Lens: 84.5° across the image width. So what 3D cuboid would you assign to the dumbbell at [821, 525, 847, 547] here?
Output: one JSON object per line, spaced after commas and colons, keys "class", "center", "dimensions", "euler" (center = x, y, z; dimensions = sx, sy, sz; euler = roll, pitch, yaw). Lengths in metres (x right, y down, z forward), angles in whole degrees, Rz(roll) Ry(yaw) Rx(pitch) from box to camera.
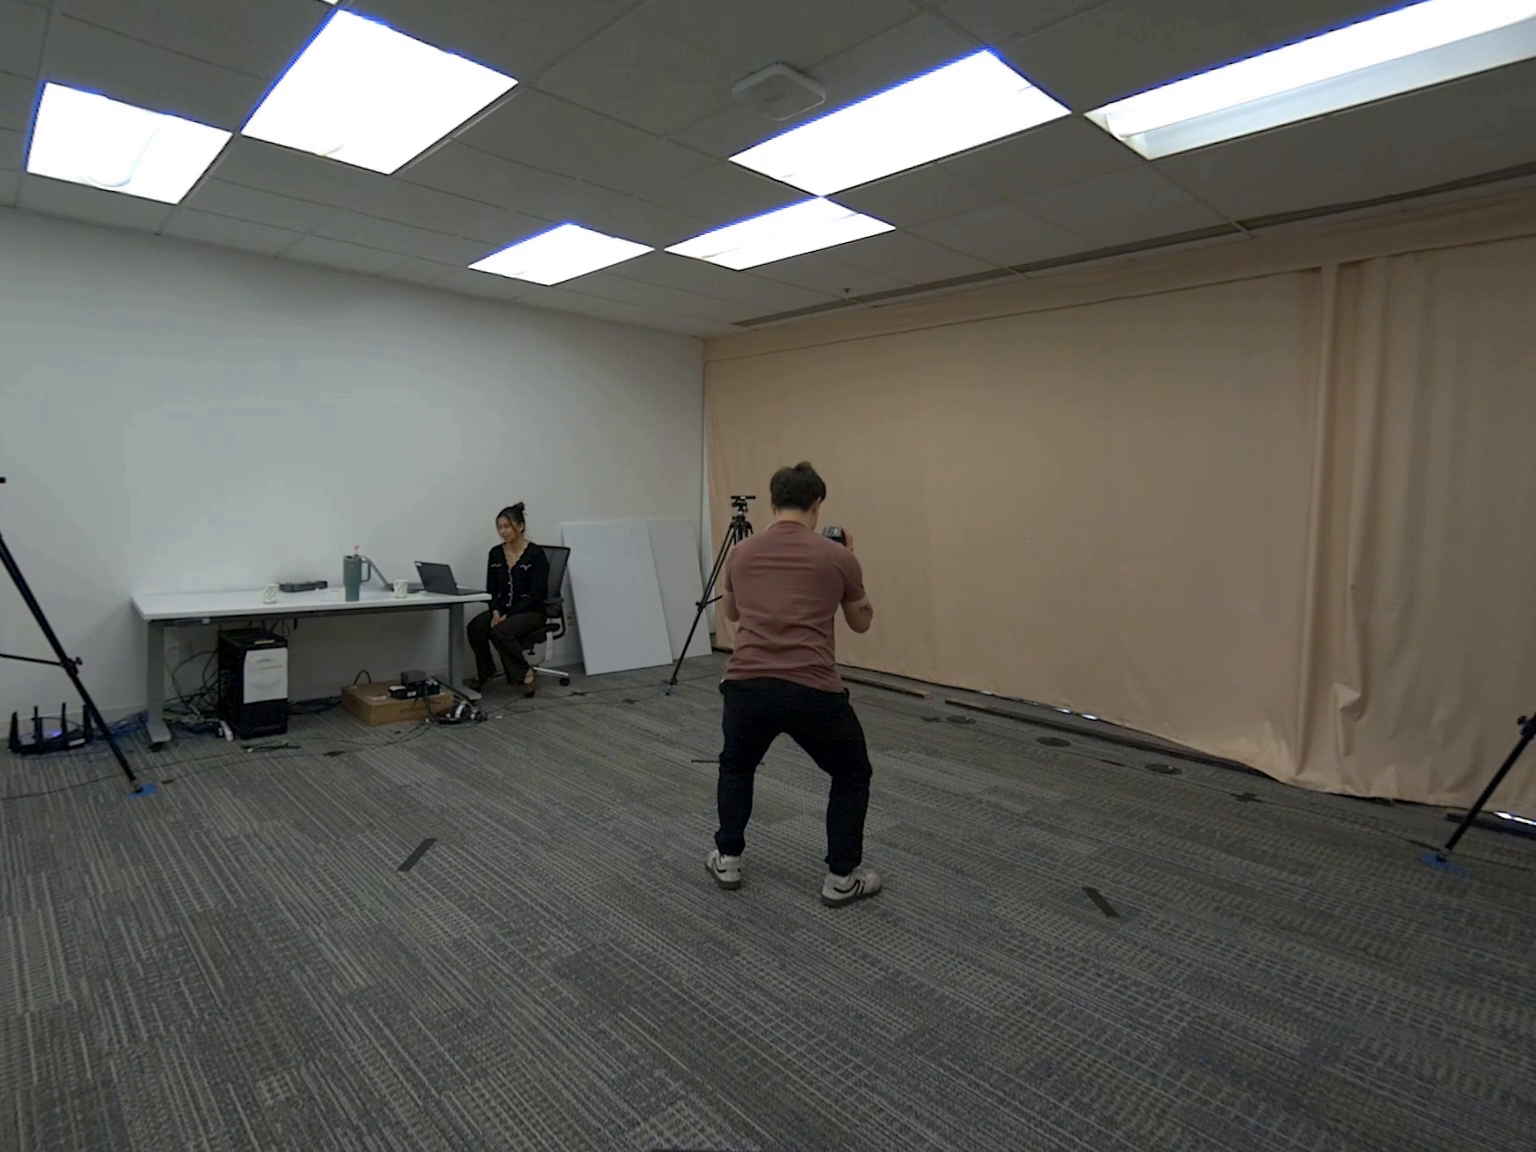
{"class": "dumbbell", "center": [0.148, -0.117, 3.193], "dimensions": [0.297, 0.106, 0.124], "euler": [2, 39, 16]}
